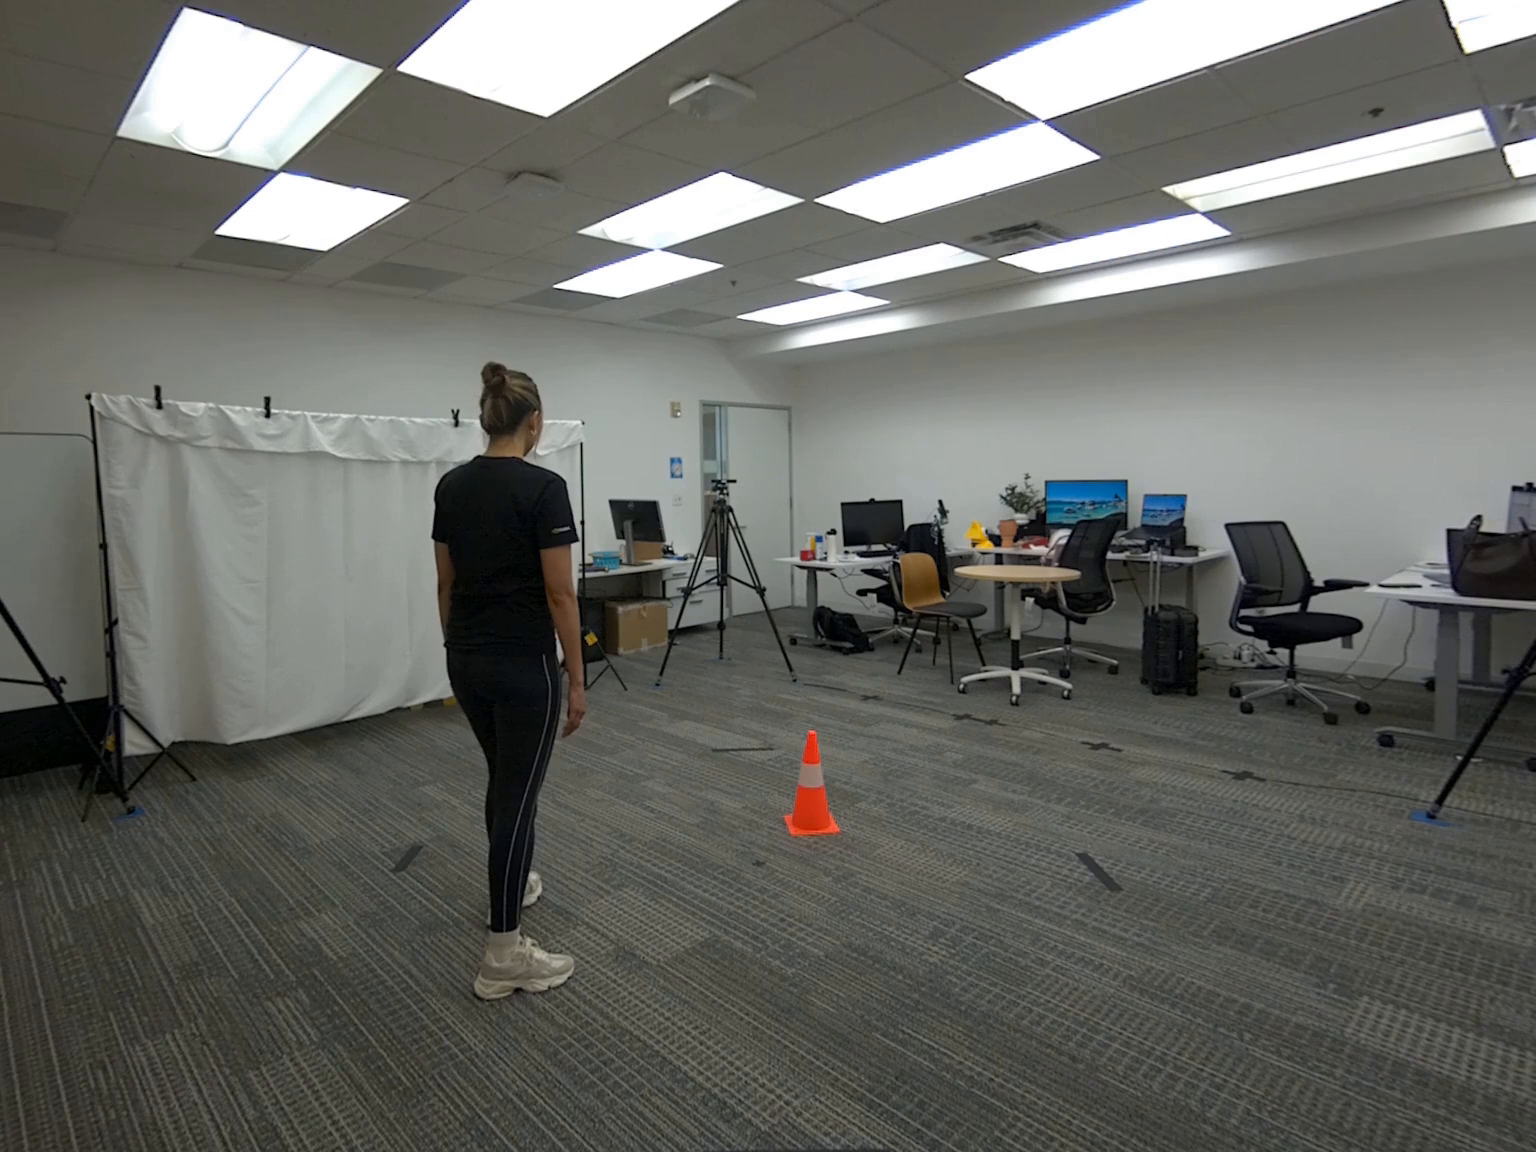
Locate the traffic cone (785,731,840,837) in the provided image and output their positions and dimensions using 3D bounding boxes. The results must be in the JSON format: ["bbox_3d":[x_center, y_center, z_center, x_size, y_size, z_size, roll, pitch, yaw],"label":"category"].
[{"bbox_3d":[0.171,0.818,3.452,0.204,0.382,0.205,-2,4,-8],"label":"traffic cone"}]
